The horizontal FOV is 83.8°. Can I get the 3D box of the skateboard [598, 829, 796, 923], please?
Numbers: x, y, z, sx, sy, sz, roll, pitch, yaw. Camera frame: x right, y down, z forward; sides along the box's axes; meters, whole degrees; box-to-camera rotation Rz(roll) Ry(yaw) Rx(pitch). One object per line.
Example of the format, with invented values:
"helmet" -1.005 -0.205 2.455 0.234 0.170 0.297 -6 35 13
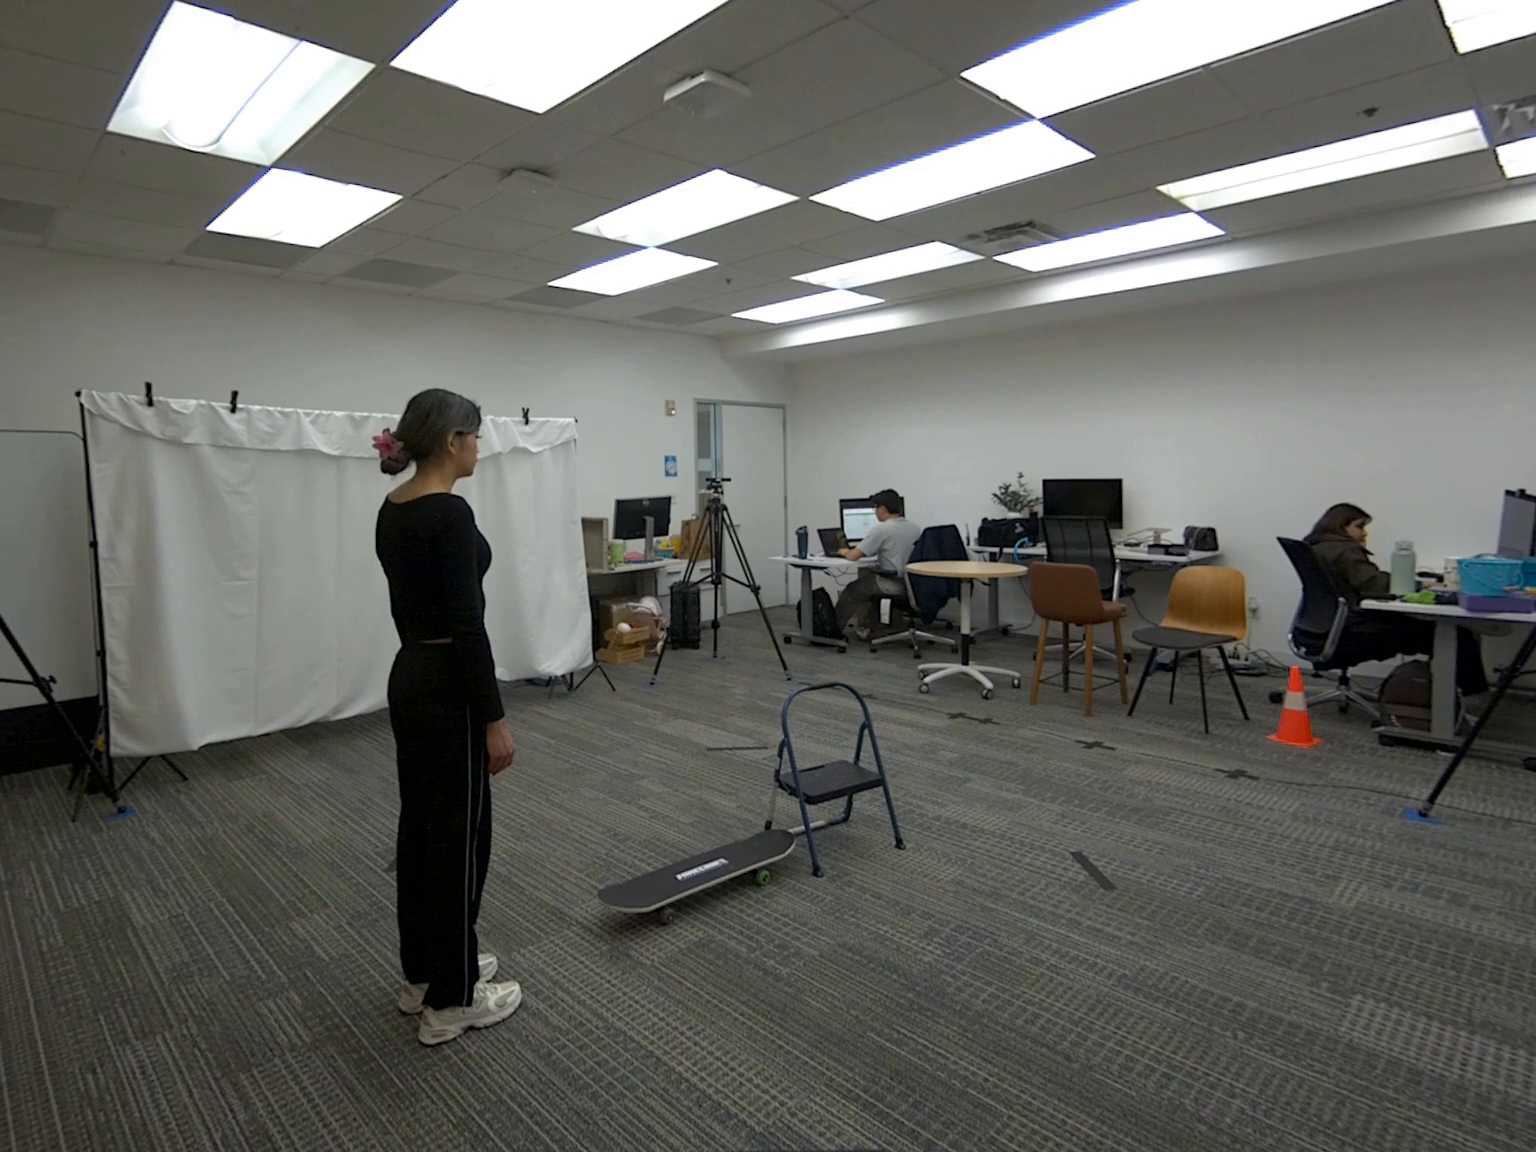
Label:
"skateboard" -0.217 1.018 2.867 0.765 0.110 0.199 -6 7 -39
